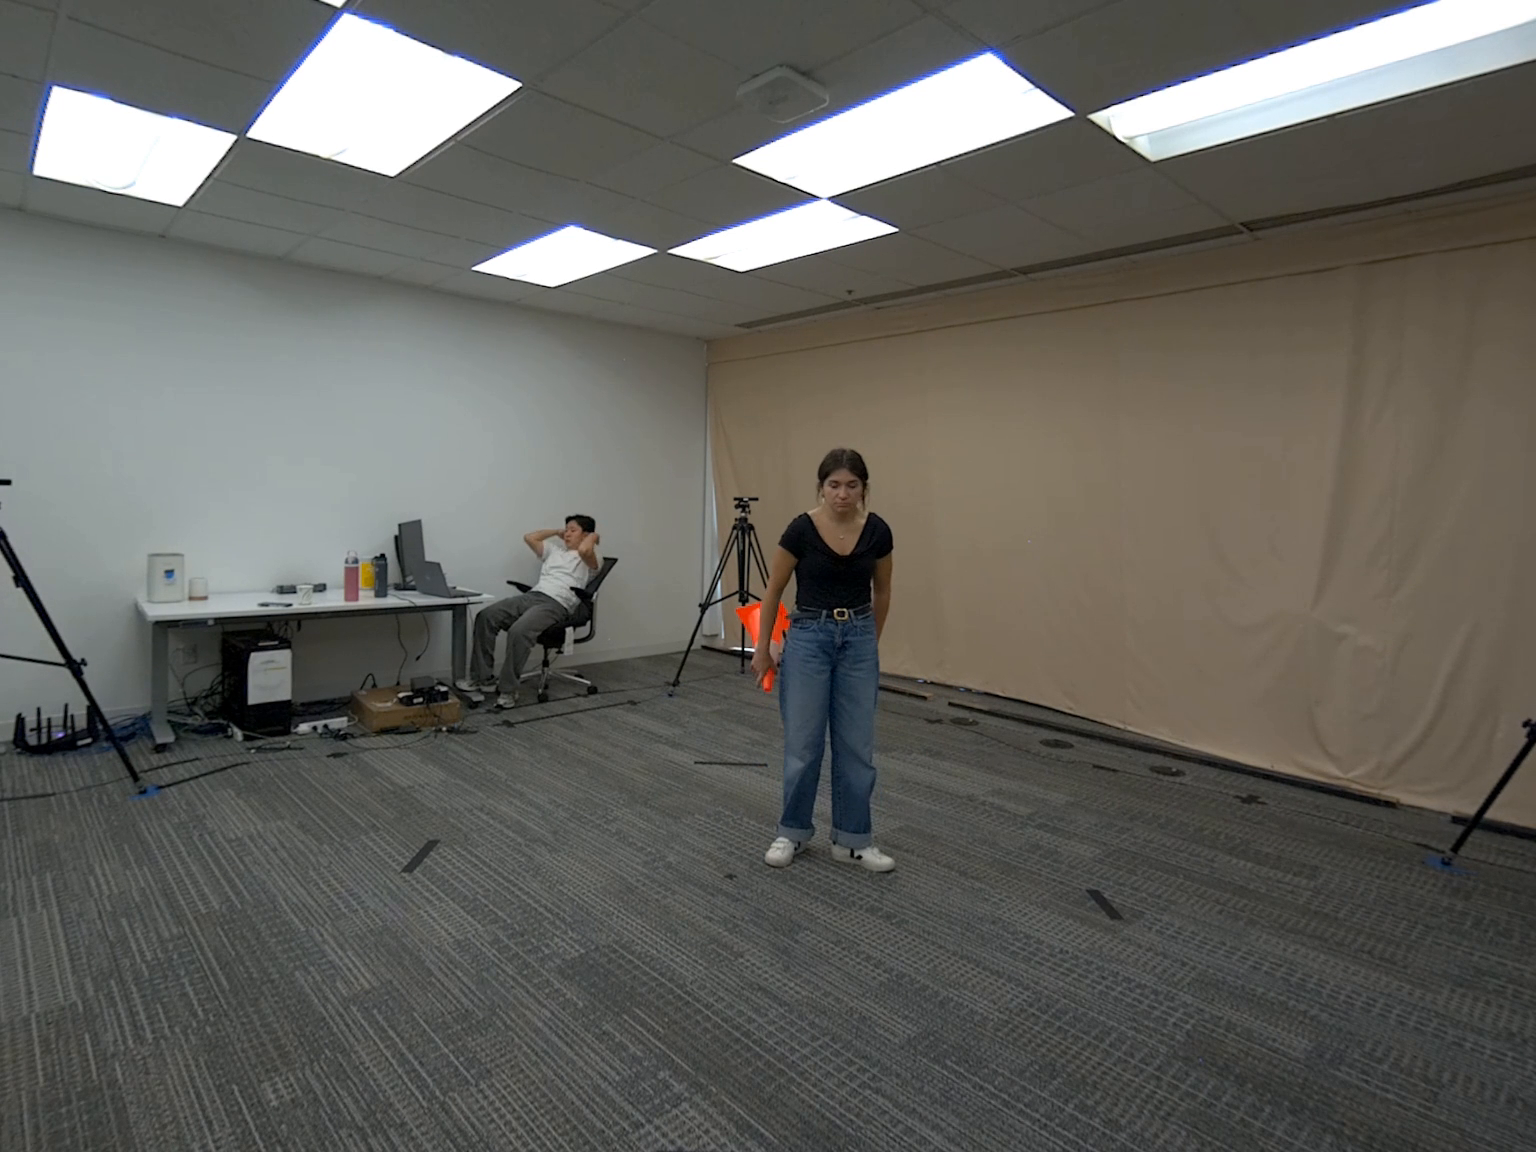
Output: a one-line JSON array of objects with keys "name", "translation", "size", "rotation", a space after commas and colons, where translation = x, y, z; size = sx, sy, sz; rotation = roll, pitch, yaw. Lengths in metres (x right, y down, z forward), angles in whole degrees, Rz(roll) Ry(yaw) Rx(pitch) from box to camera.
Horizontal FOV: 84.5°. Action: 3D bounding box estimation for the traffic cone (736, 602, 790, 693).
[{"name": "traffic cone", "translation": [-0.011, 0.312, 3.391], "size": [0.205, 0.199, 0.392], "rotation": [-20, 38, 17]}]
